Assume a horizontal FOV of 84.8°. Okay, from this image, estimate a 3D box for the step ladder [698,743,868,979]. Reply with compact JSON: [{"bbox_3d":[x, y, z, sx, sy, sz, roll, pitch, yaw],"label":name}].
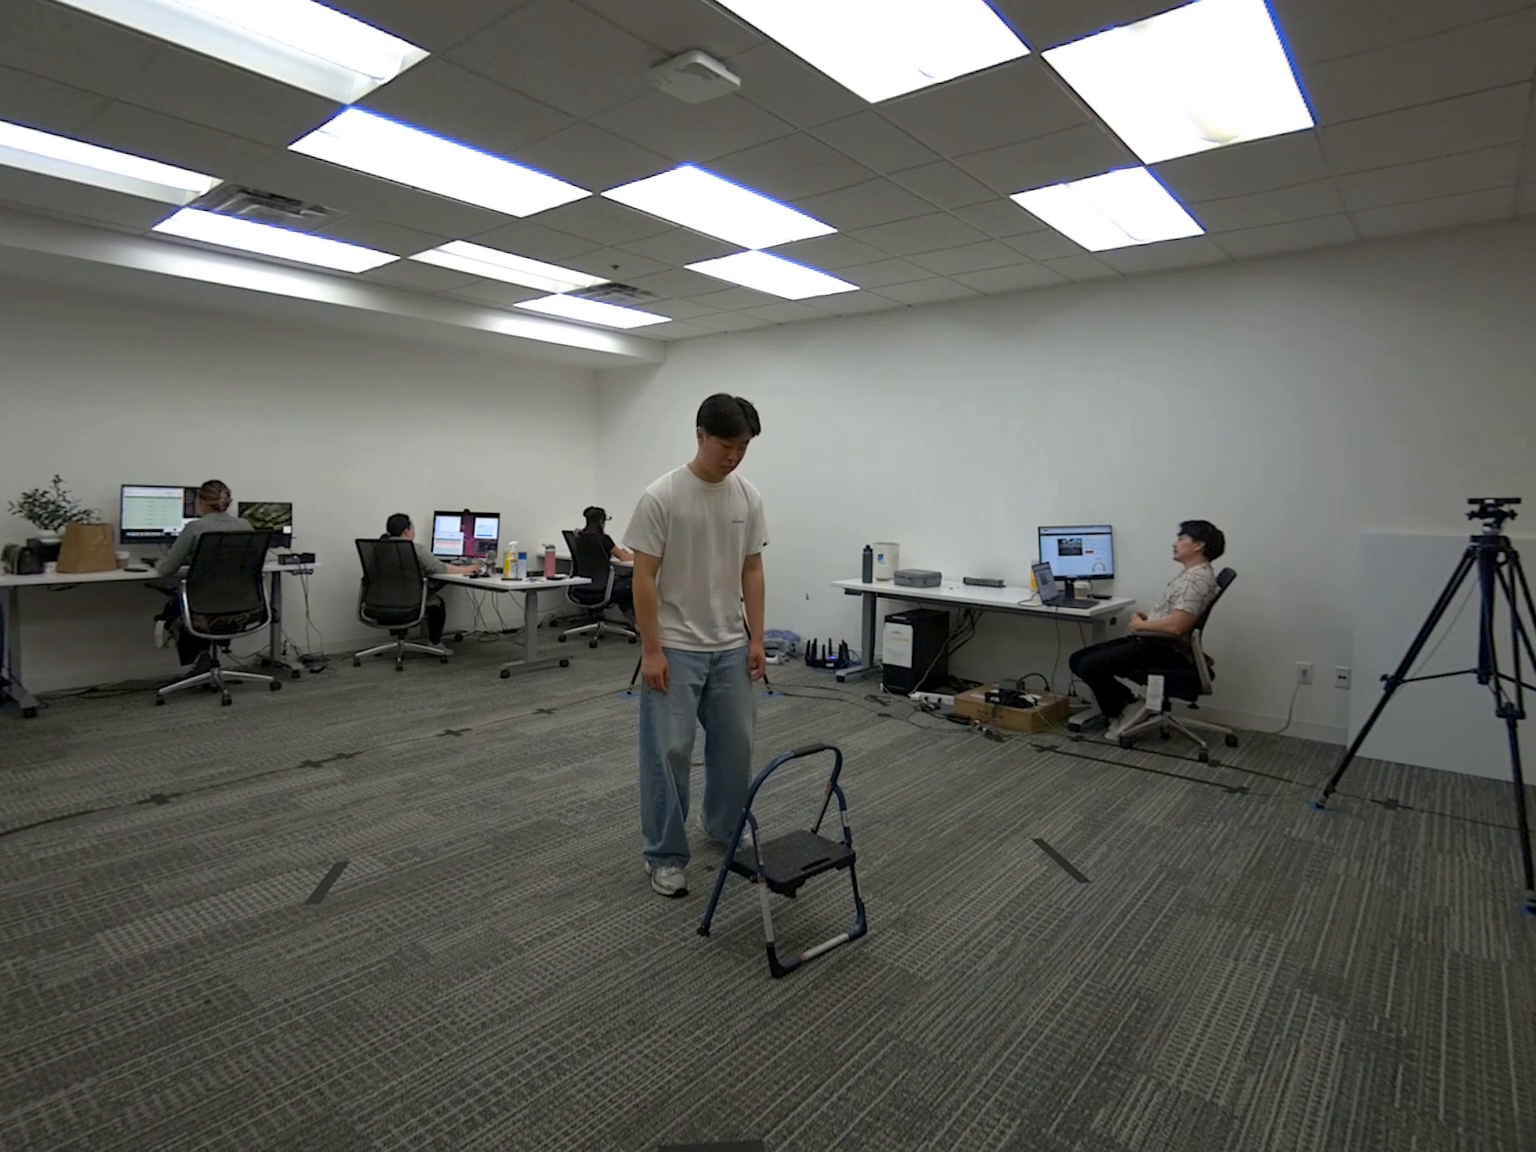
[{"bbox_3d":[0.050,0.813,2.654,0.417,0.604,0.361,-2,5,-44],"label":"step ladder"}]
